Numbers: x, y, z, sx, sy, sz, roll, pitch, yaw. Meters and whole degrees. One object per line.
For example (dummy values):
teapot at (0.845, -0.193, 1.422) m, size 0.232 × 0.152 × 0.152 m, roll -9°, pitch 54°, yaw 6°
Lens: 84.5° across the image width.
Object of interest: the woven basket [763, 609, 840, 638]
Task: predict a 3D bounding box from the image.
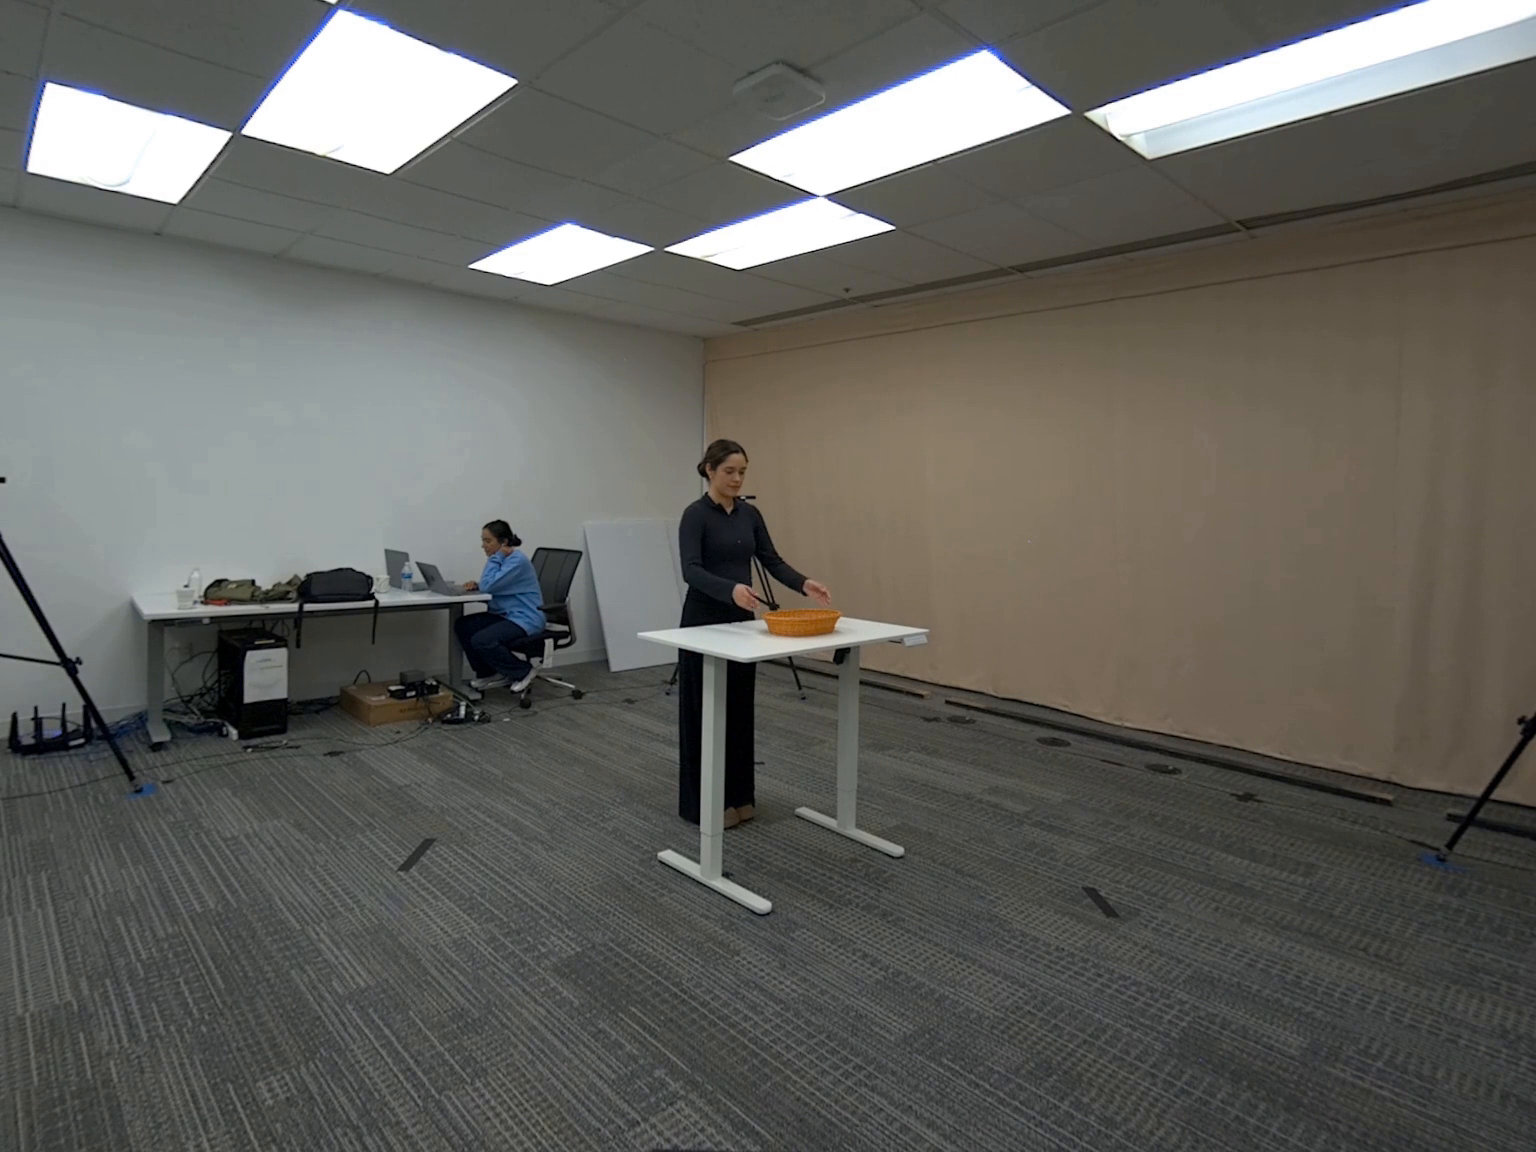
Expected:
woven basket at (0.118, 0.186, 3.238) m, size 0.342 × 0.073 × 0.259 m, roll -4°, pitch 7°, yaw -43°
